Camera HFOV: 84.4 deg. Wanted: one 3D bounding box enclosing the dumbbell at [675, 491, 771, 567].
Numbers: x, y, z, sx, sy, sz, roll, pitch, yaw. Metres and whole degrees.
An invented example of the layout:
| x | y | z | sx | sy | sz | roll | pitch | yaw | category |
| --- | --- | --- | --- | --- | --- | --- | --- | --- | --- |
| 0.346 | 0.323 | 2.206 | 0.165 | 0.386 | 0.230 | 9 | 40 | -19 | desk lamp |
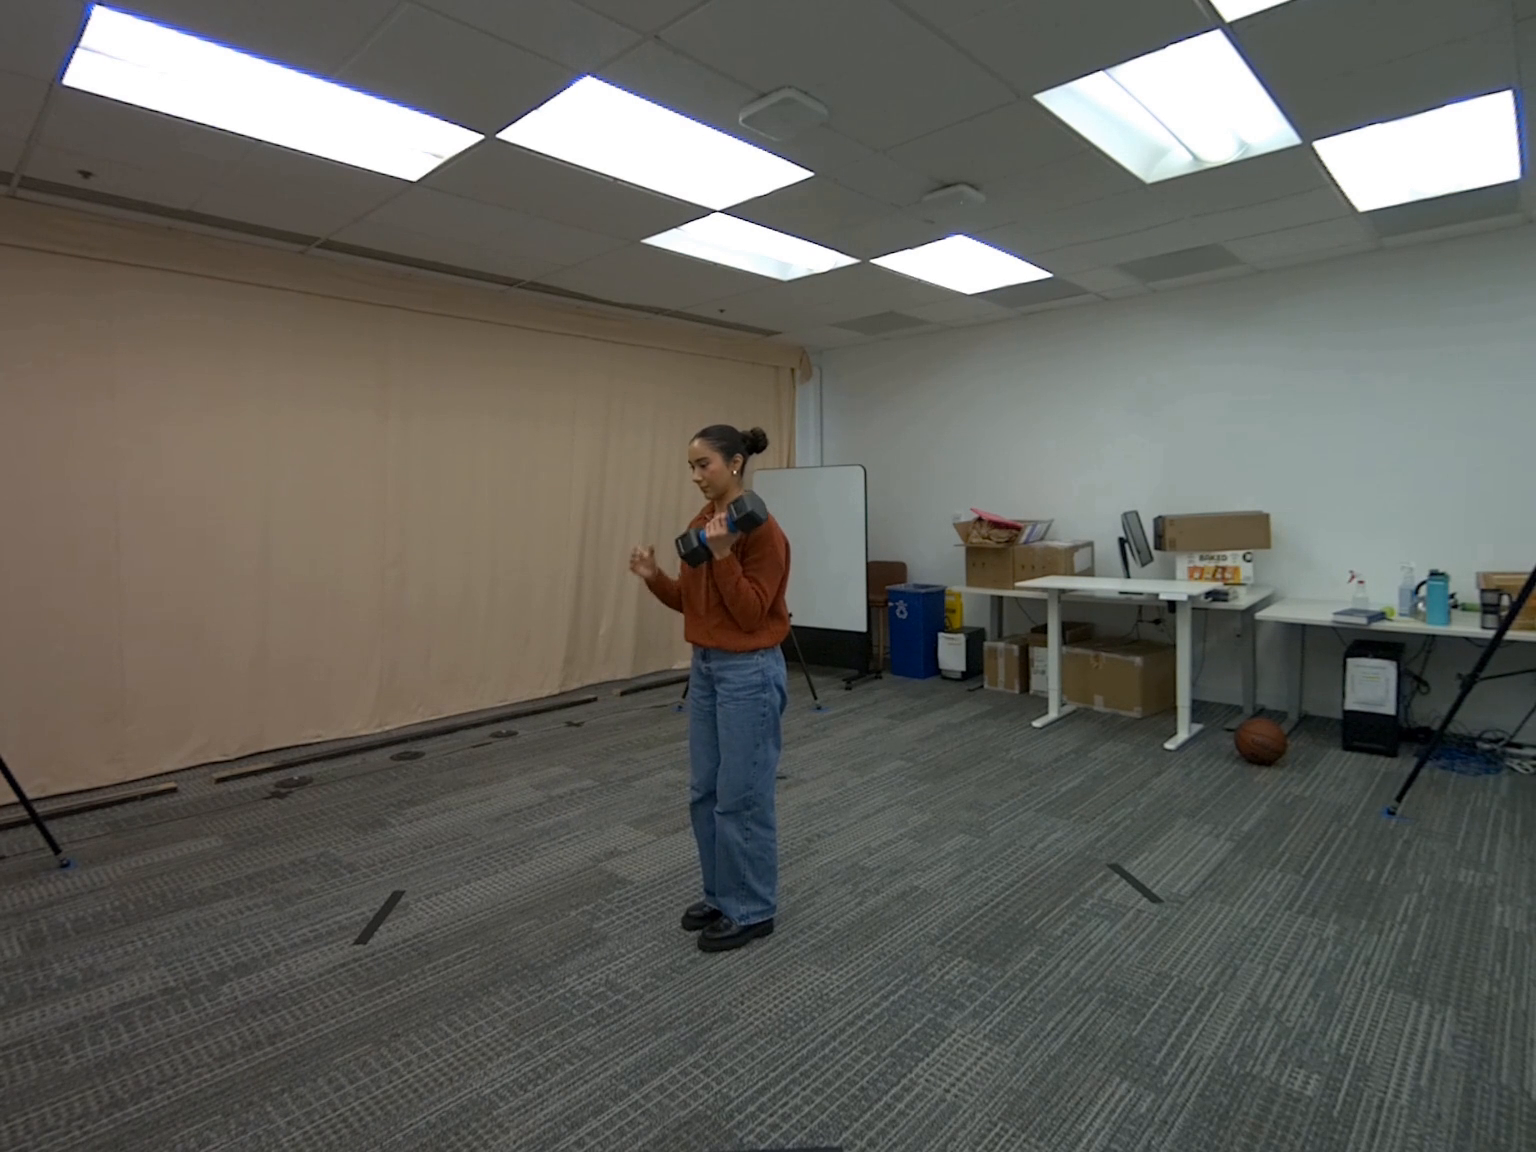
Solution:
| x | y | z | sx | sy | sz | roll | pitch | yaw | category |
| --- | --- | --- | --- | --- | --- | --- | --- | --- | --- |
| -0.141 | -0.135 | 2.522 | 0.297 | 0.110 | 0.119 | -33 | -58 | 29 | dumbbell |
